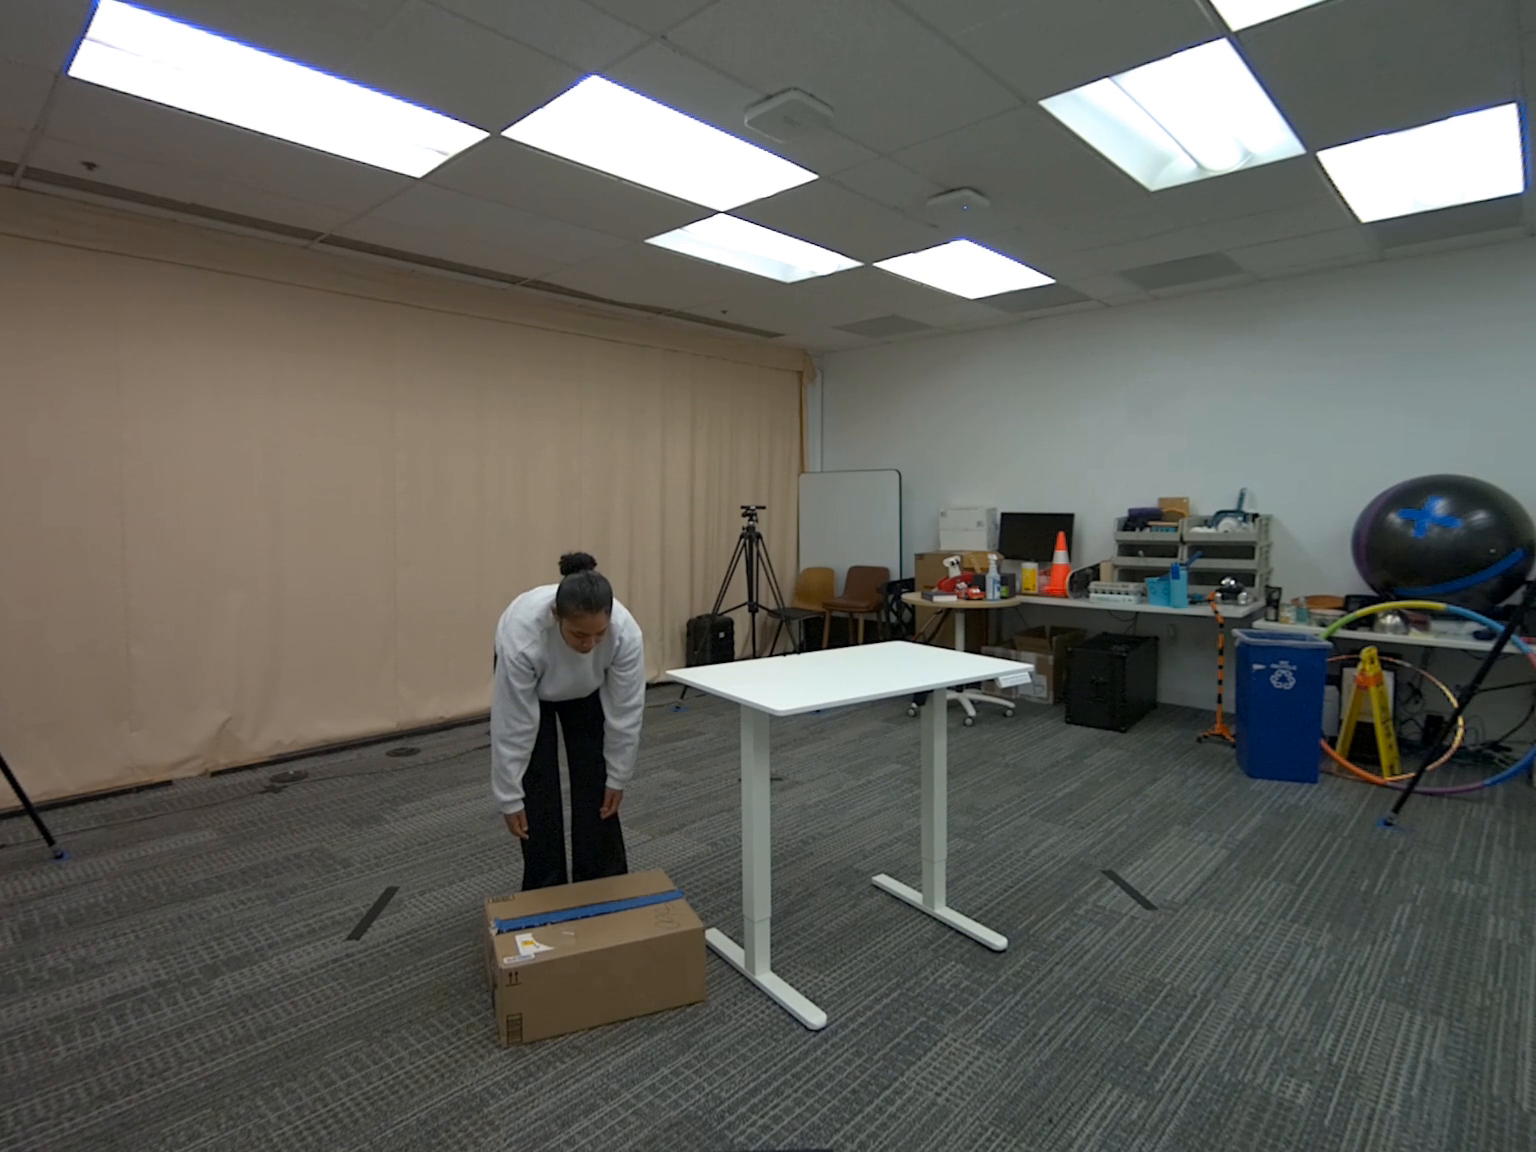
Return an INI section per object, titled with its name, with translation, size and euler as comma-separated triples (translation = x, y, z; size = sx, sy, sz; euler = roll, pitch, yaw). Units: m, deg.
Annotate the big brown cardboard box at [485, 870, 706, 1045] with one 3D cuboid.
[big brown cardboard box]
translation = -0.513, 1.082, 2.441
size = 0.576, 0.233, 0.428
euler = -1, 4, -23
